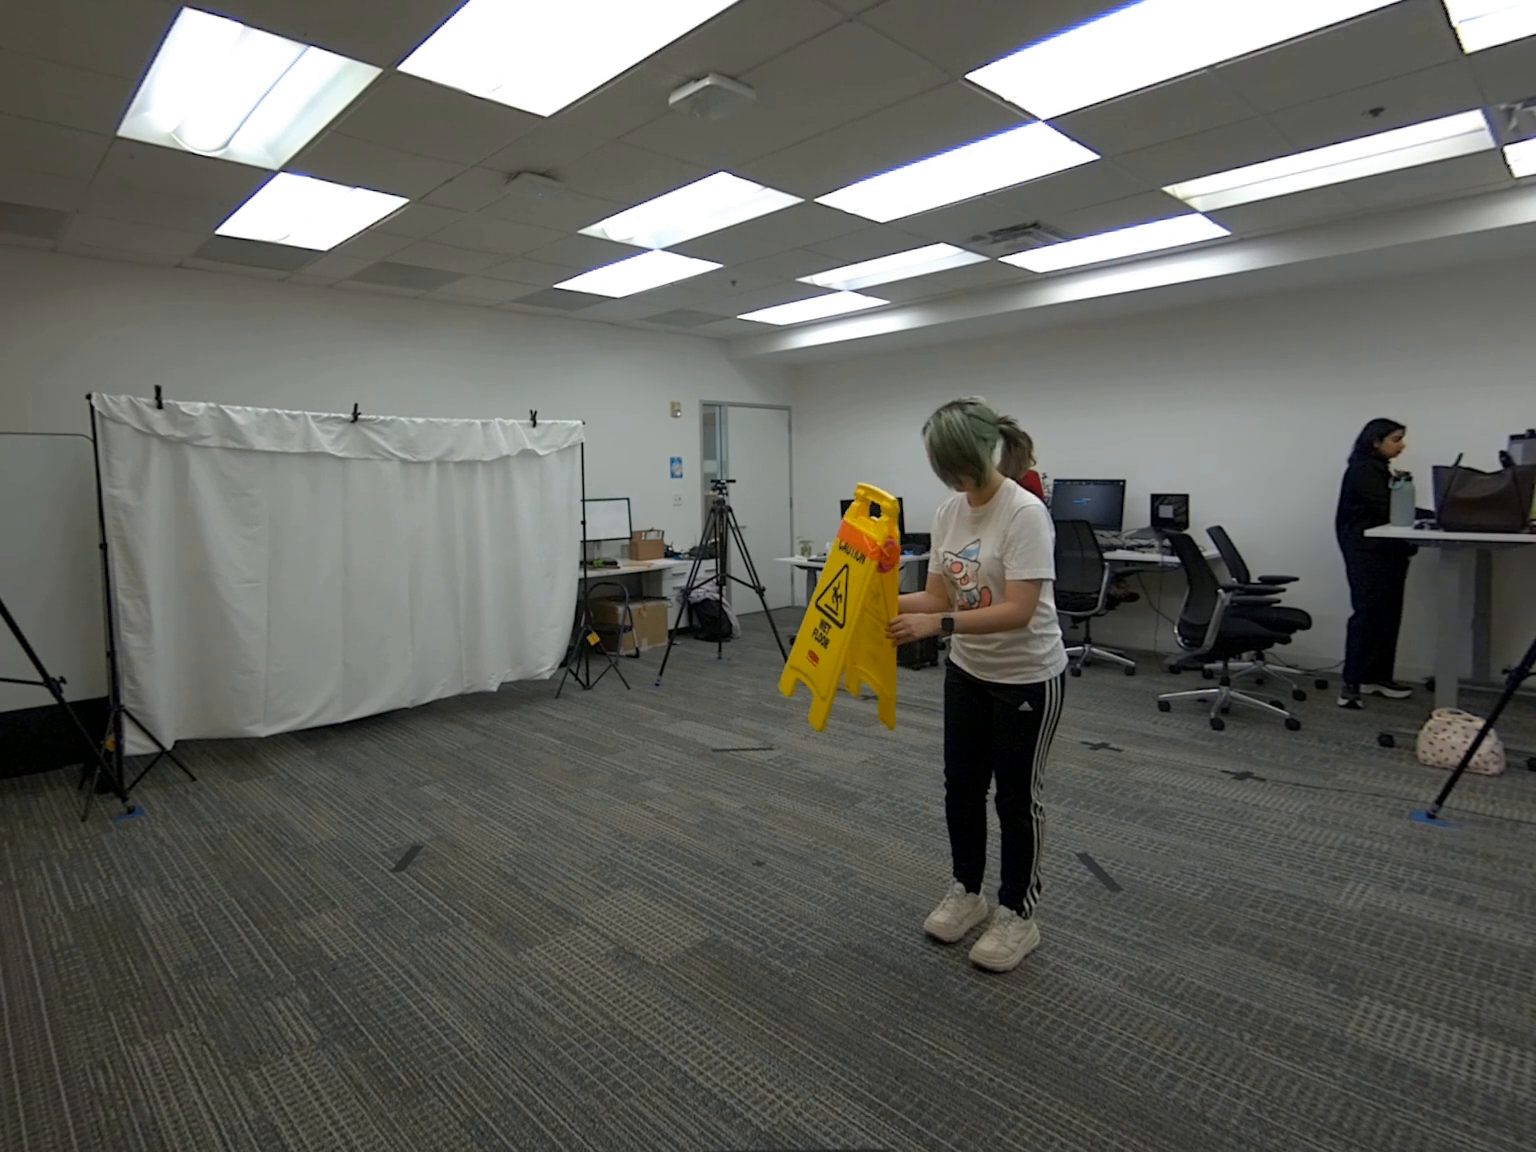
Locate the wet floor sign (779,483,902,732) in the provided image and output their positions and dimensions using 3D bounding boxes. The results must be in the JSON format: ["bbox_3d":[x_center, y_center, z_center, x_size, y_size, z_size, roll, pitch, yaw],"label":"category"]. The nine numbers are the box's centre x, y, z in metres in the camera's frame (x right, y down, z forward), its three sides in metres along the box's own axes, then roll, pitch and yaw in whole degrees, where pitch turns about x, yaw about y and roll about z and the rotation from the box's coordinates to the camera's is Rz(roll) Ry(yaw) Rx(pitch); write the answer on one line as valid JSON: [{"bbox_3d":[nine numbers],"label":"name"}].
[{"bbox_3d":[0.253,0.078,2.376,0.284,0.639,0.291,3,15,-22],"label":"wet floor sign"}]
